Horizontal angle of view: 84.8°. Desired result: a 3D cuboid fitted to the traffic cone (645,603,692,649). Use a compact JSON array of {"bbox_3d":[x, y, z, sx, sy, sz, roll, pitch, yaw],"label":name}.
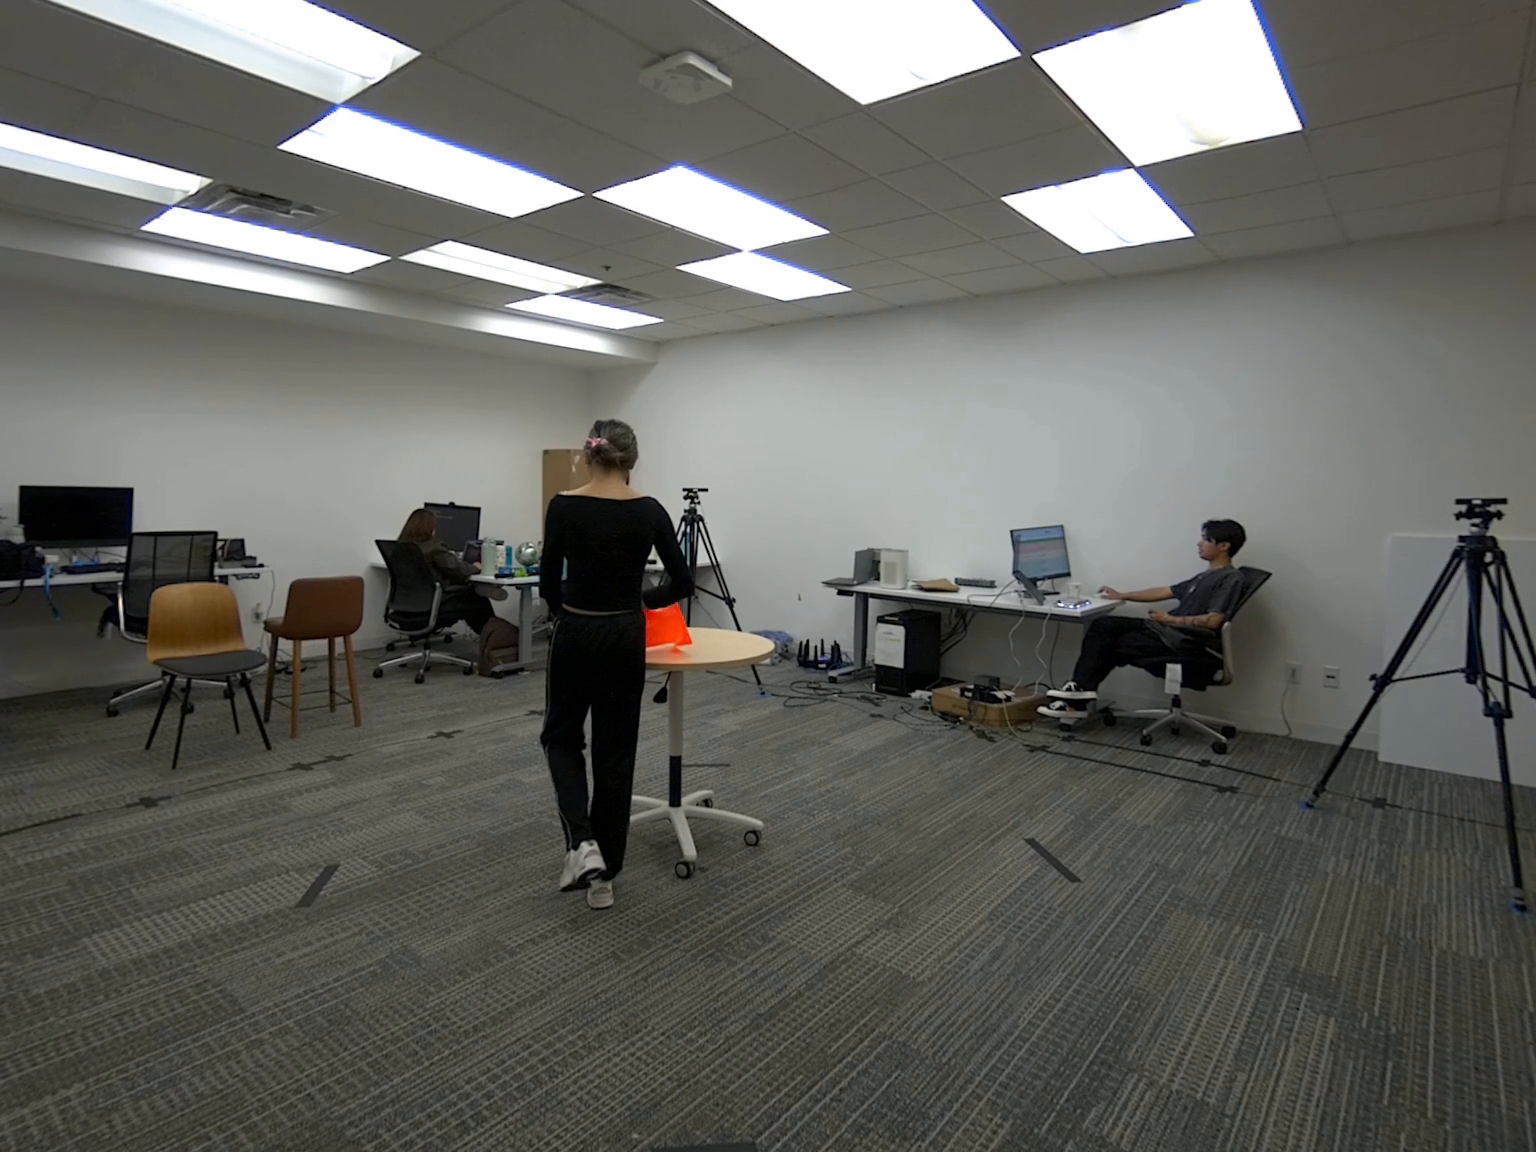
[{"bbox_3d":[-0.514,0.217,3.130,0.378,0.206,0.205,-17,-3,-21],"label":"traffic cone"}]
